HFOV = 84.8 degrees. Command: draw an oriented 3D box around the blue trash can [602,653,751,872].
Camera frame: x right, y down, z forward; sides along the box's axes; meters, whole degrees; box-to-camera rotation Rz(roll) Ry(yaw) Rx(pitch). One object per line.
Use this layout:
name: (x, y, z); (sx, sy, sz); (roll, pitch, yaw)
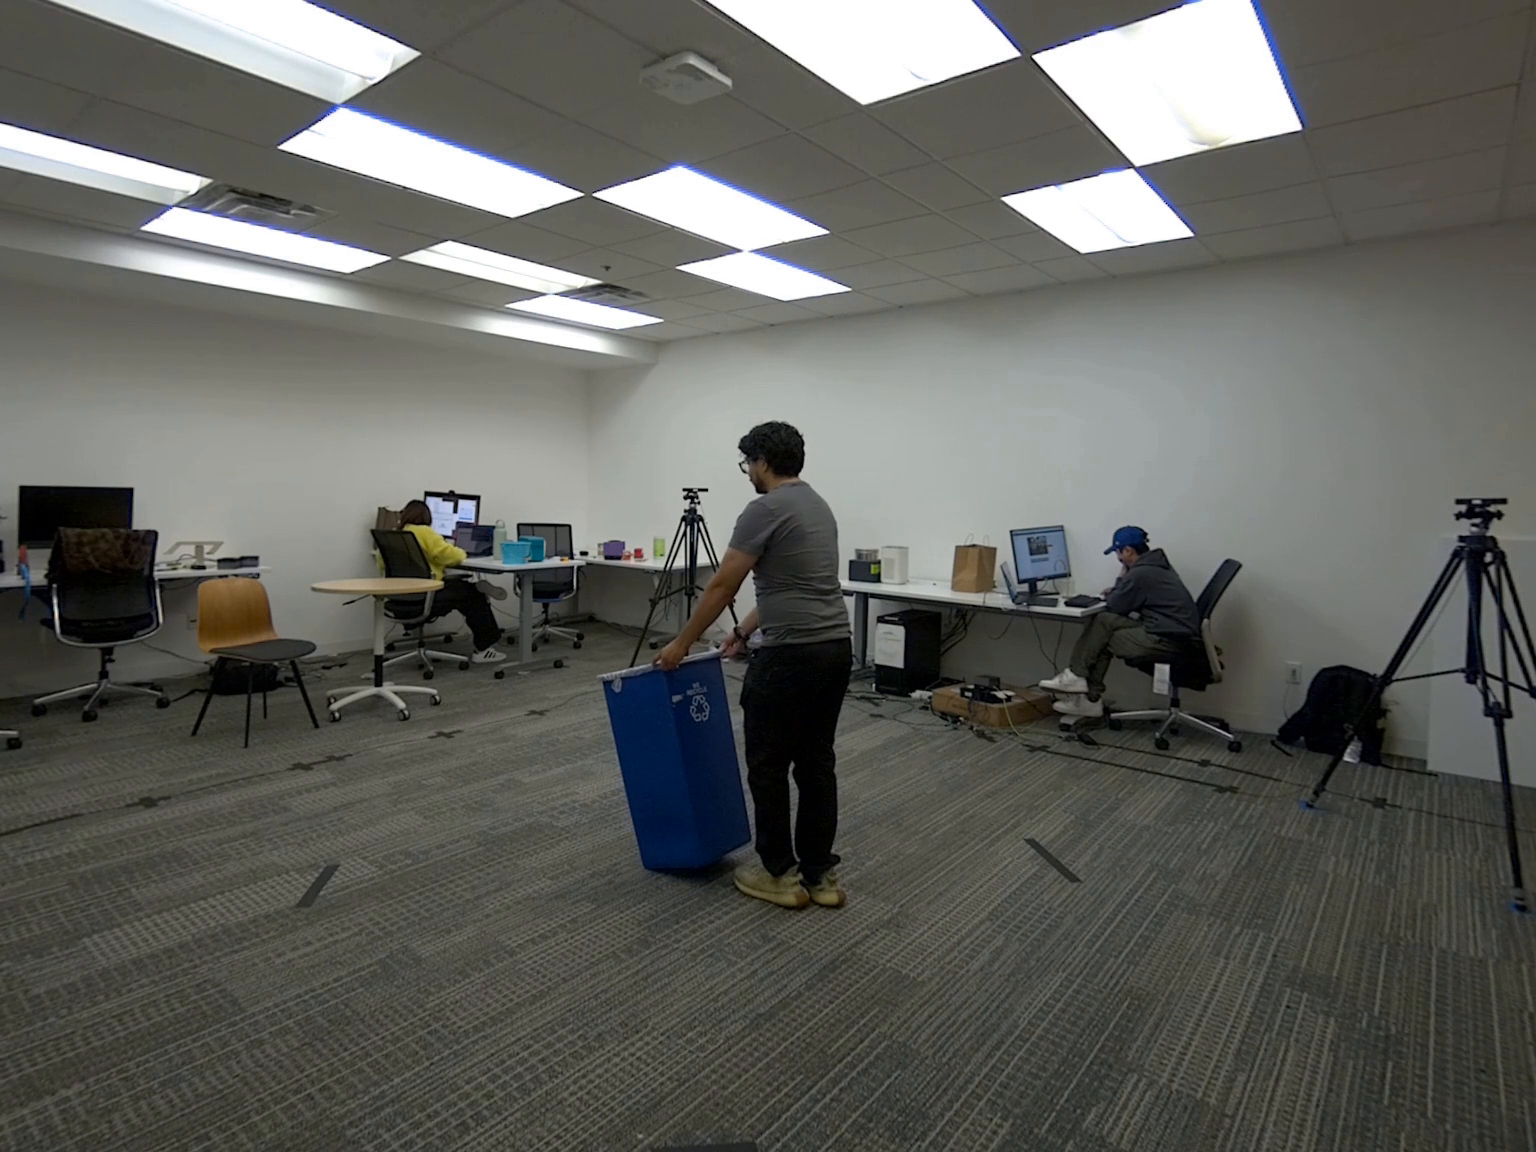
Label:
blue trash can: (-0.338, 0.675, 3.189); (0.382, 0.720, 0.367); (-18, -9, 35)
